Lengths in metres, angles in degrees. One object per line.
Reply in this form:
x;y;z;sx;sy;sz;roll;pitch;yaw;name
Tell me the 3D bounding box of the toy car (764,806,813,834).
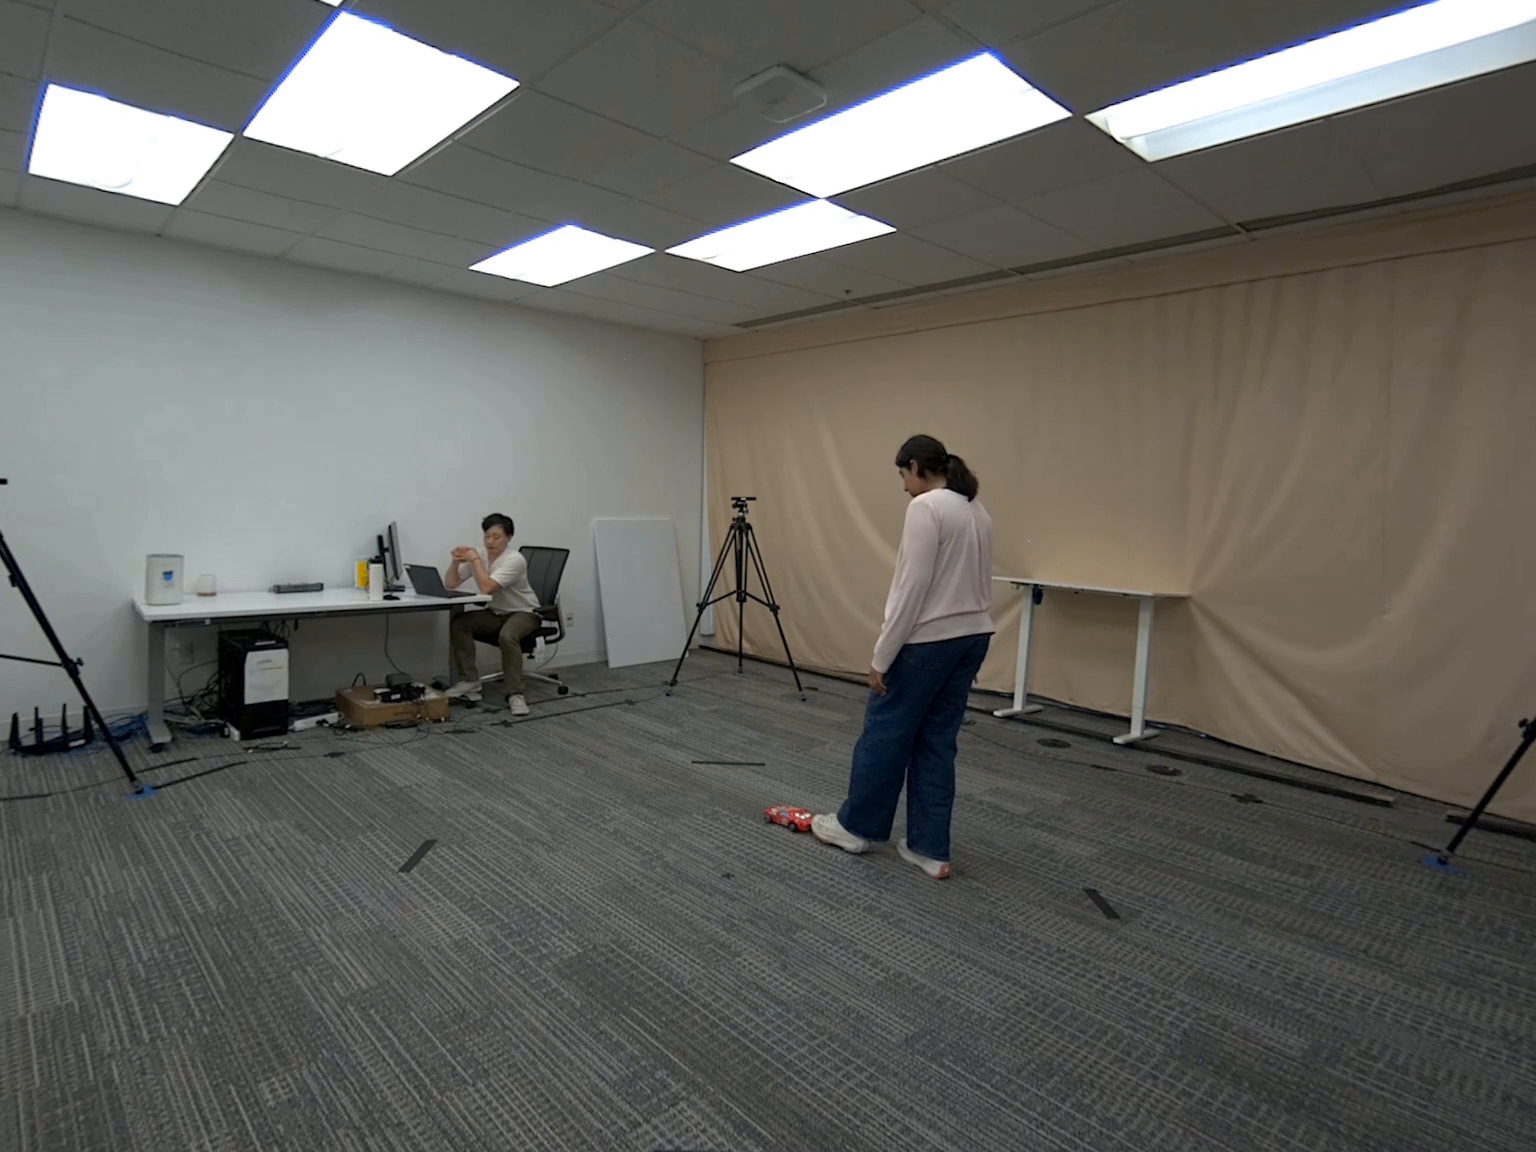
0.099;1.036;3.597;0.259;0.083;0.127;-9;-5;43;toy car
